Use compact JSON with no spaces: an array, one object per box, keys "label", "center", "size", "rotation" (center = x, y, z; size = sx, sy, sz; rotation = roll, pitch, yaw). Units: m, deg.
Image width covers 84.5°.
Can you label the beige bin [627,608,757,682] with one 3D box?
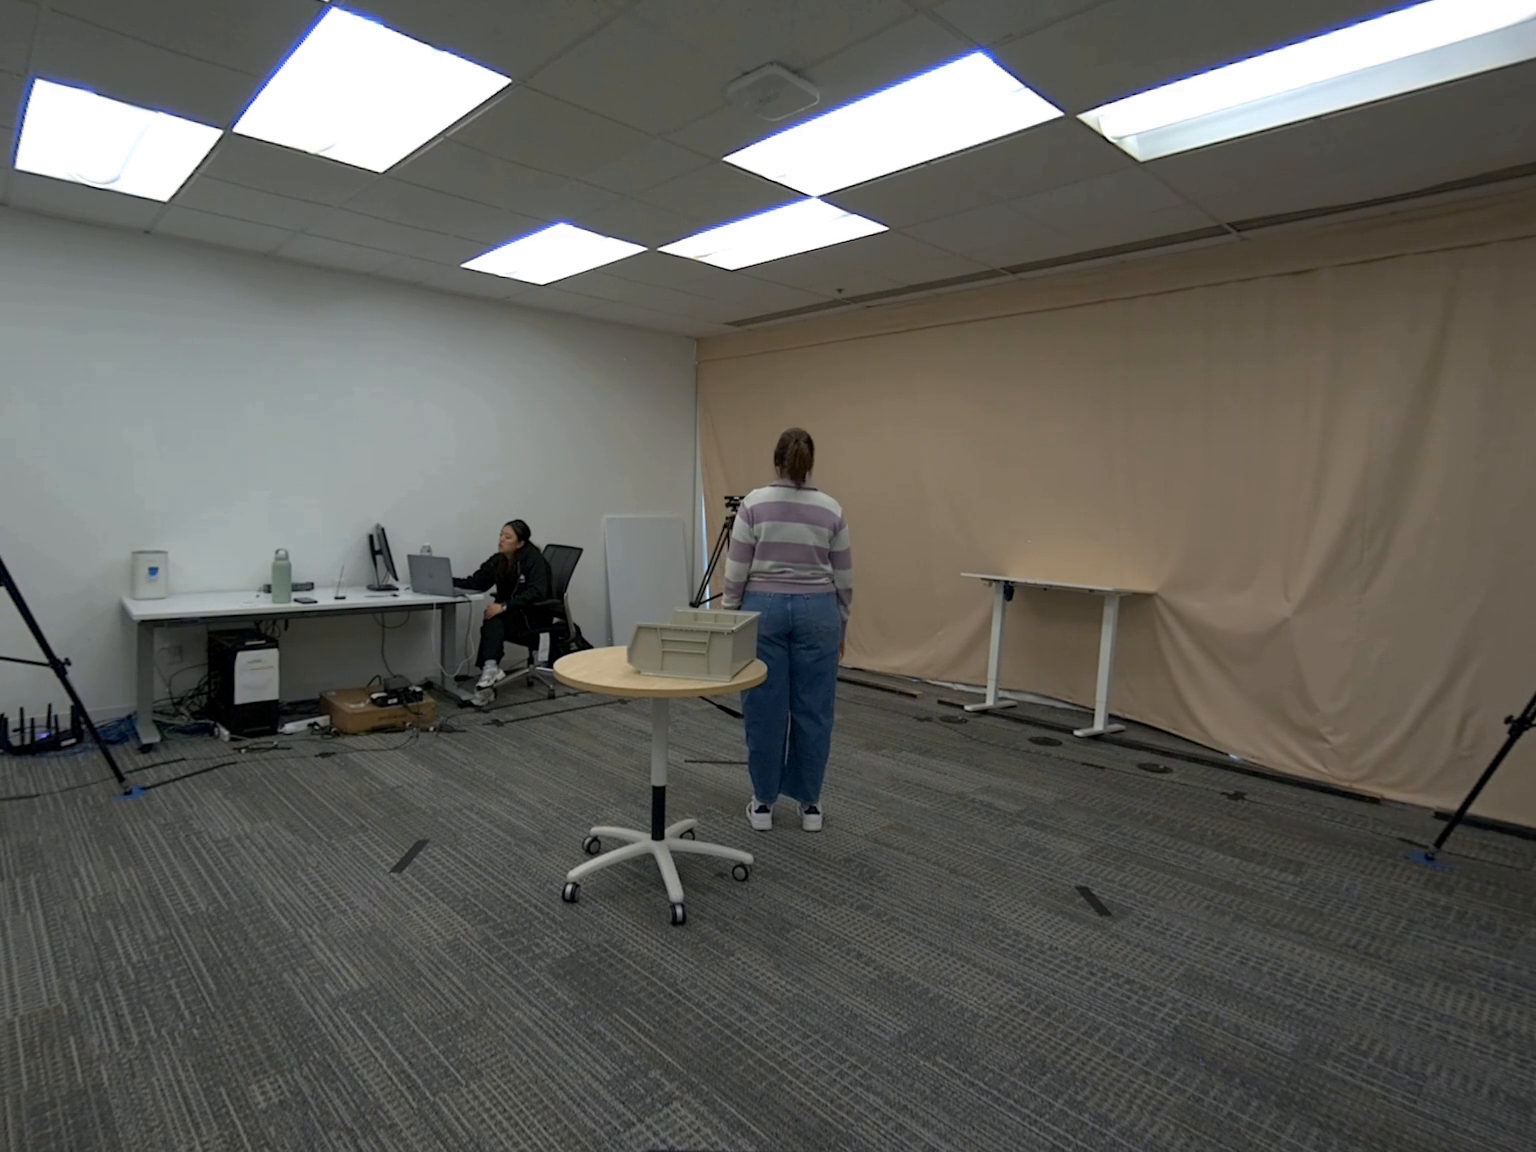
[{"label":"beige bin","center":[-0.263,0.236,3.016],"size":[0.382,0.188,0.419],"rotation":[4,6,13]}]
